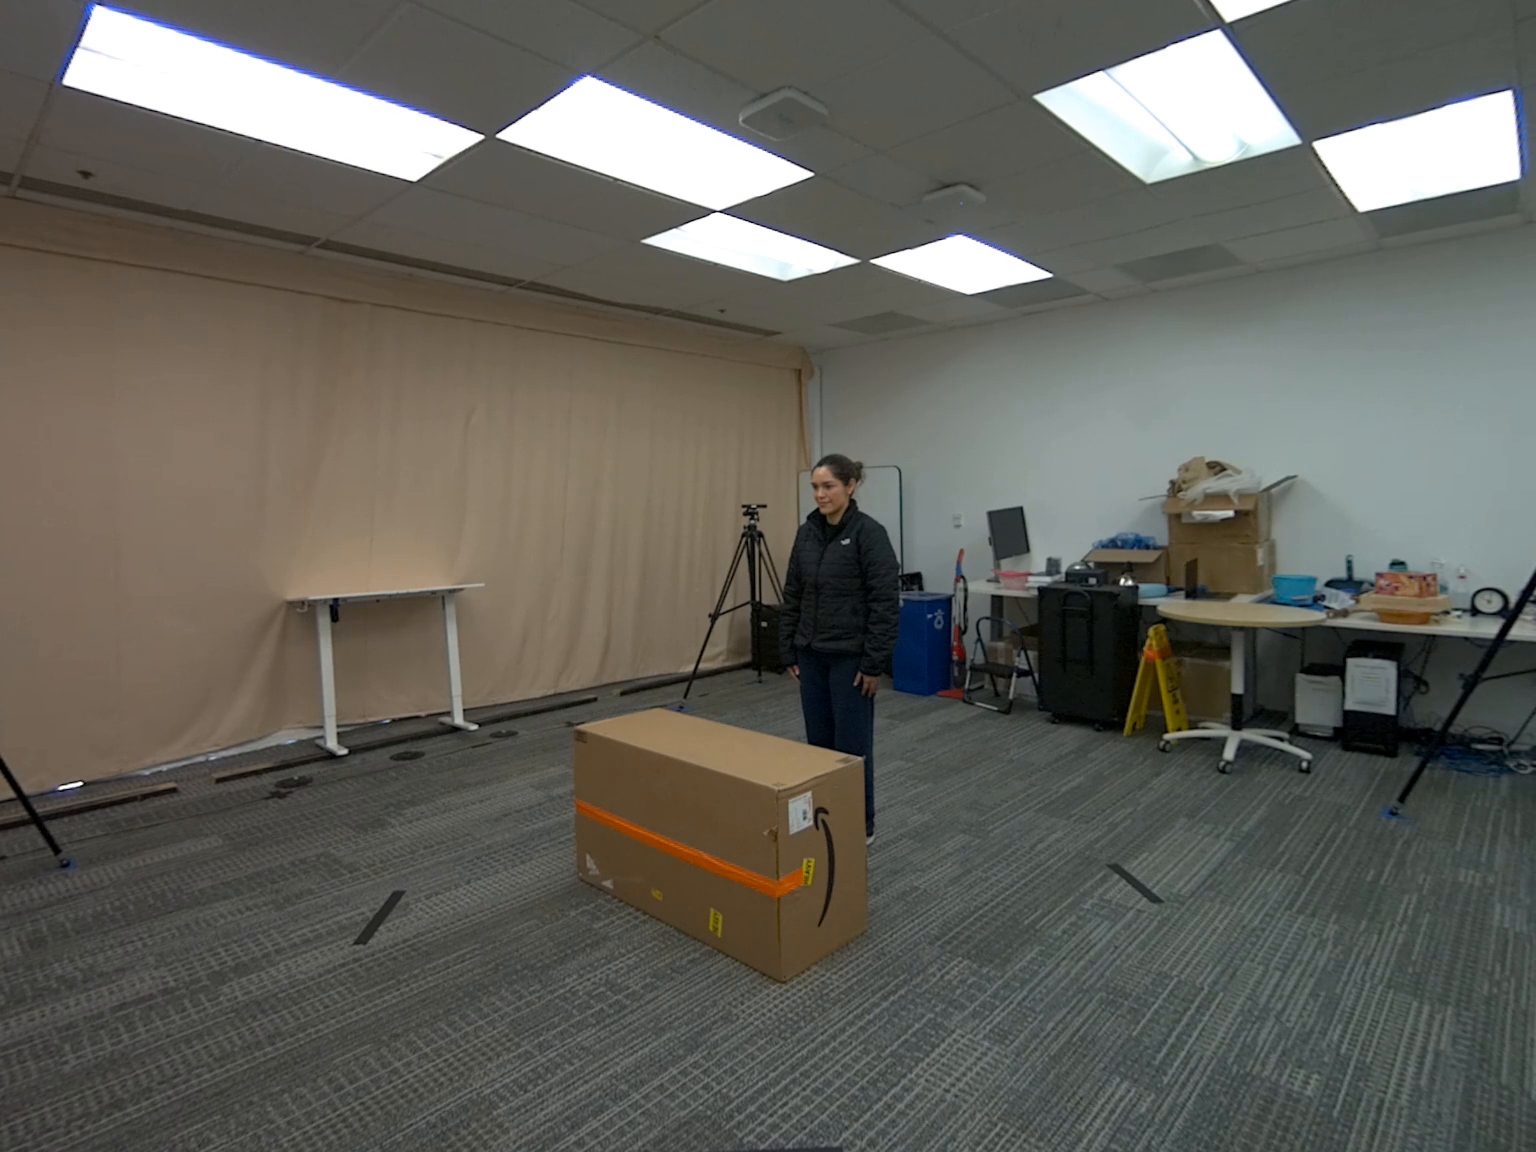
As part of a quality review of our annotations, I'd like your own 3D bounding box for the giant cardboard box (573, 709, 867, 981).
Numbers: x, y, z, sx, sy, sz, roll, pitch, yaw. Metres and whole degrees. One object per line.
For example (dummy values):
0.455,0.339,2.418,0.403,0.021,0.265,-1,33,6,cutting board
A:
-0.191,0.862,2.933,1.061,0.583,0.433,3,4,44,giant cardboard box
